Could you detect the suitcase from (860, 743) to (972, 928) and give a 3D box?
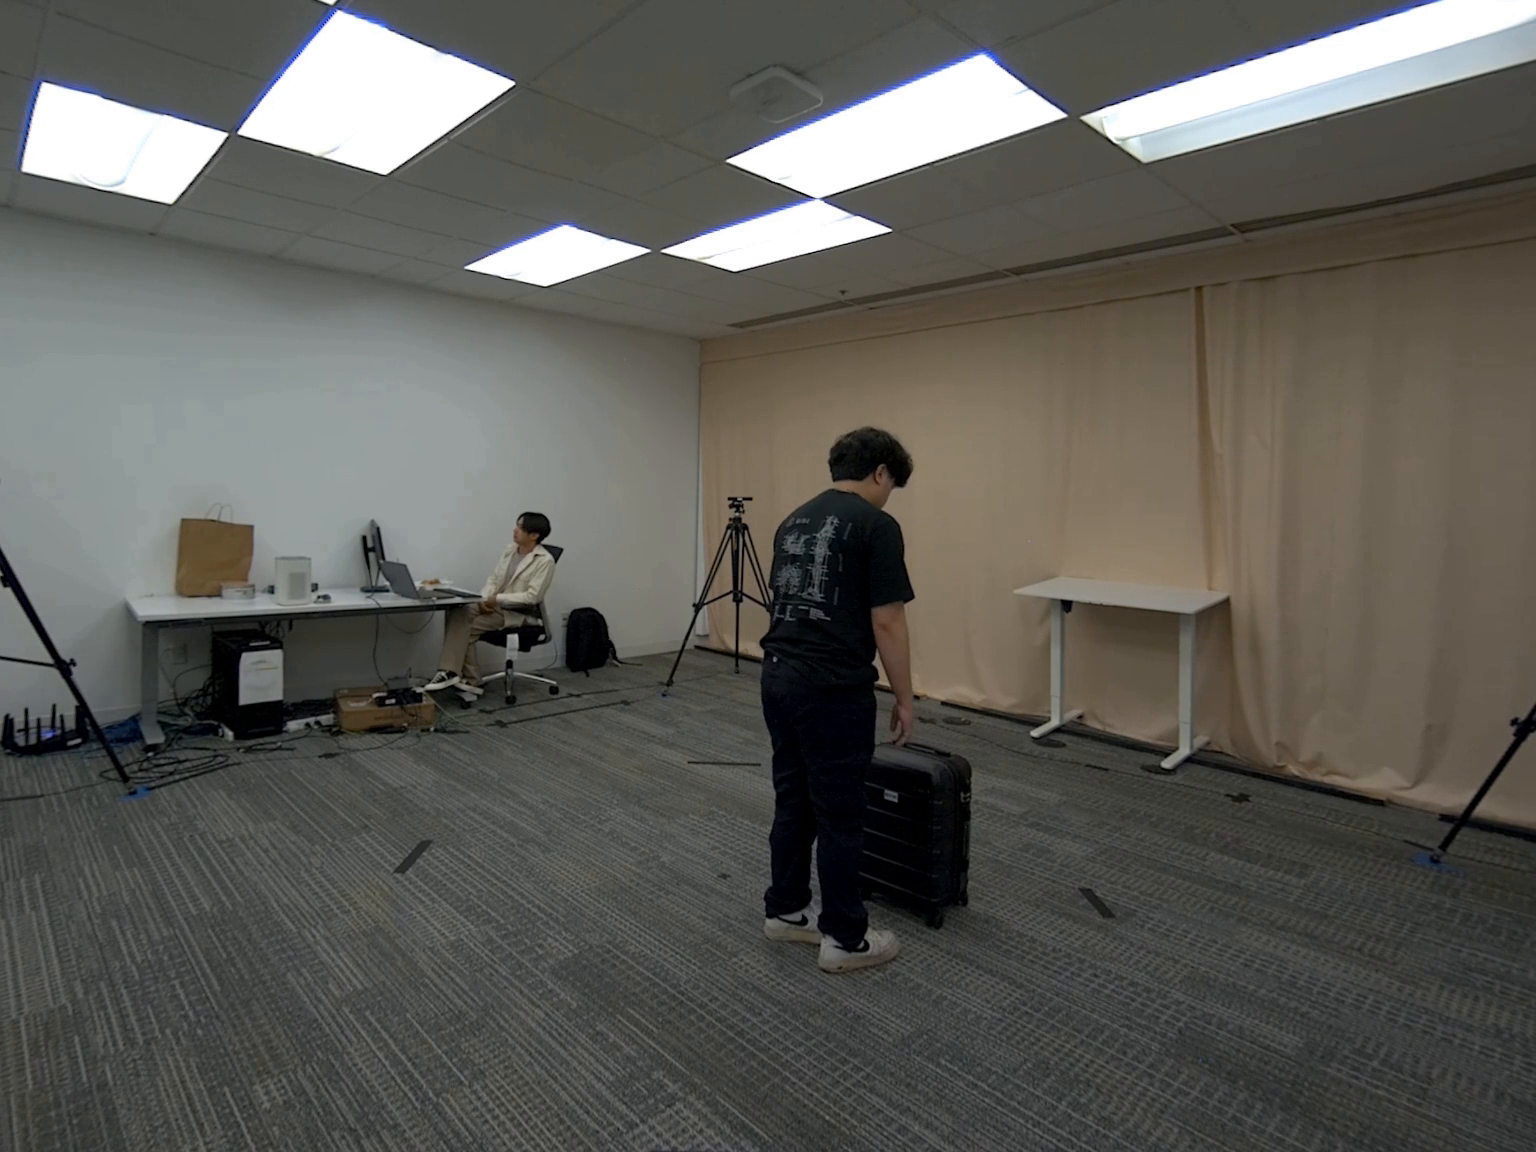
[{"bbox_3d":[0.501,0.866,2.914,0.385,0.547,0.243,6,7,41],"label":"suitcase"}]
